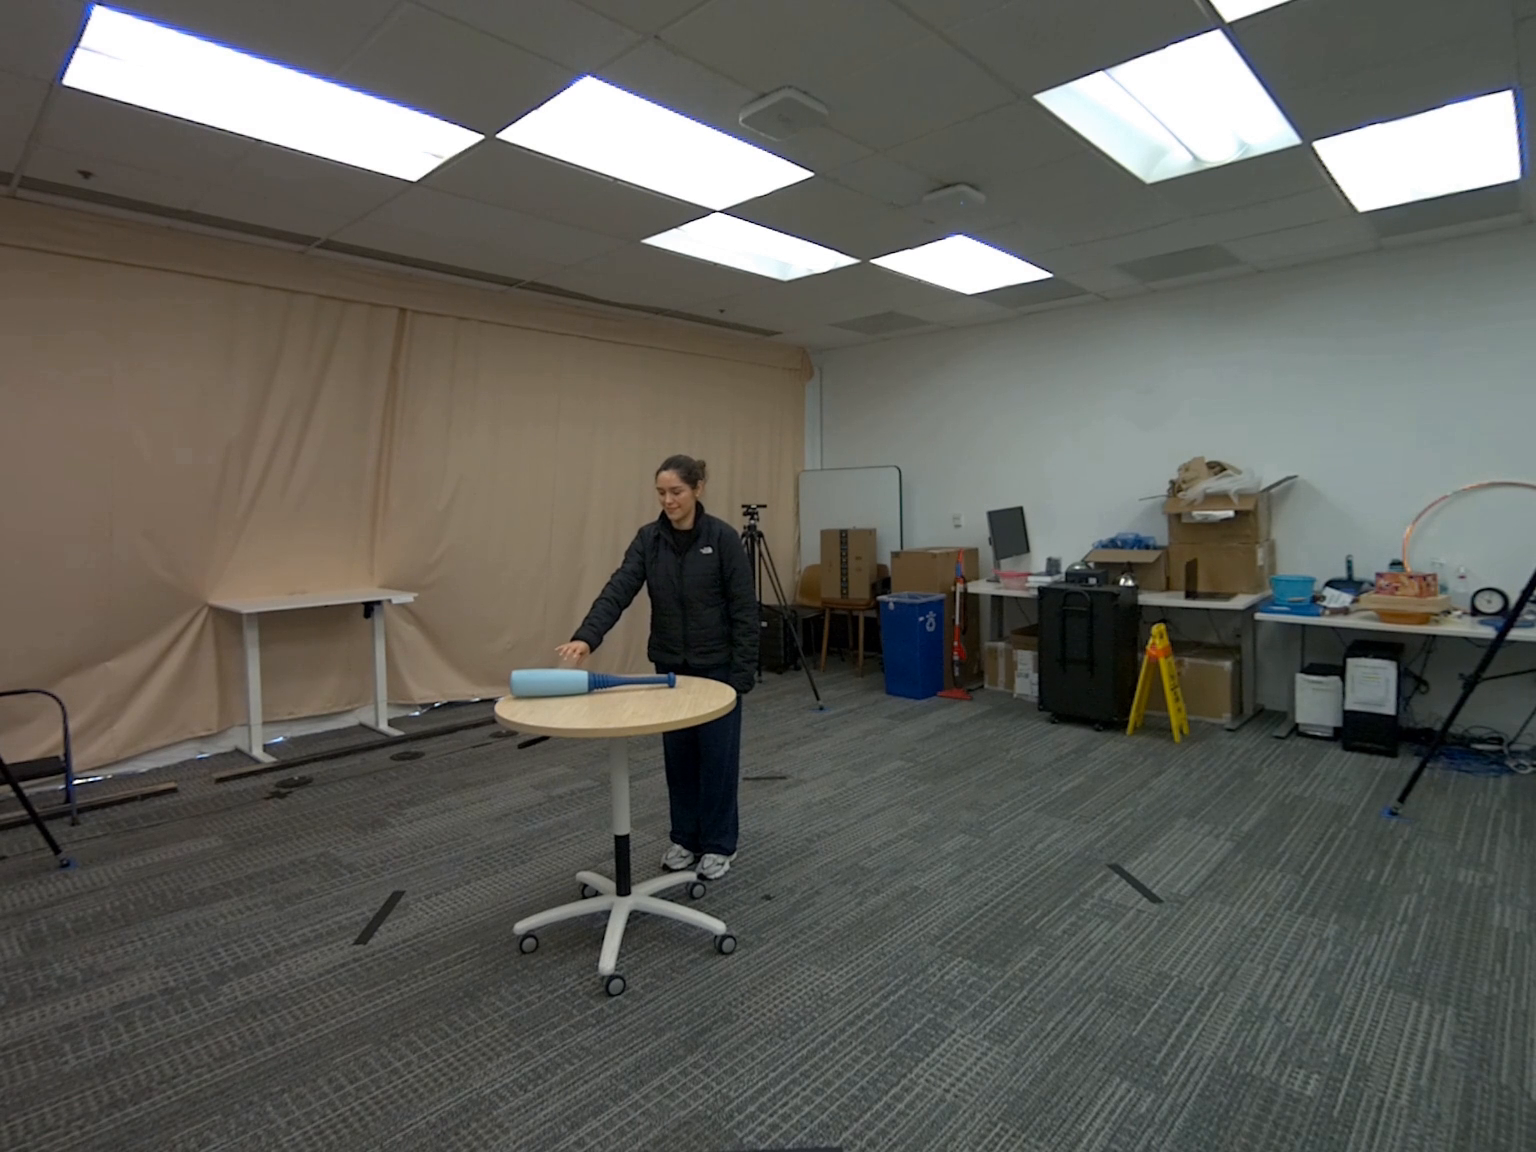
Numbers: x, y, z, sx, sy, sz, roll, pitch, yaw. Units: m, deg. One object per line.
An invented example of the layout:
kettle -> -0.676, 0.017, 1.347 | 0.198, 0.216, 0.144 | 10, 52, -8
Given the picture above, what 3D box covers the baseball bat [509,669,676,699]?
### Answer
baseball bat -> -0.572, 0.355, 2.772 | 0.536, 0.089, 0.090 | 1, 3, -11
